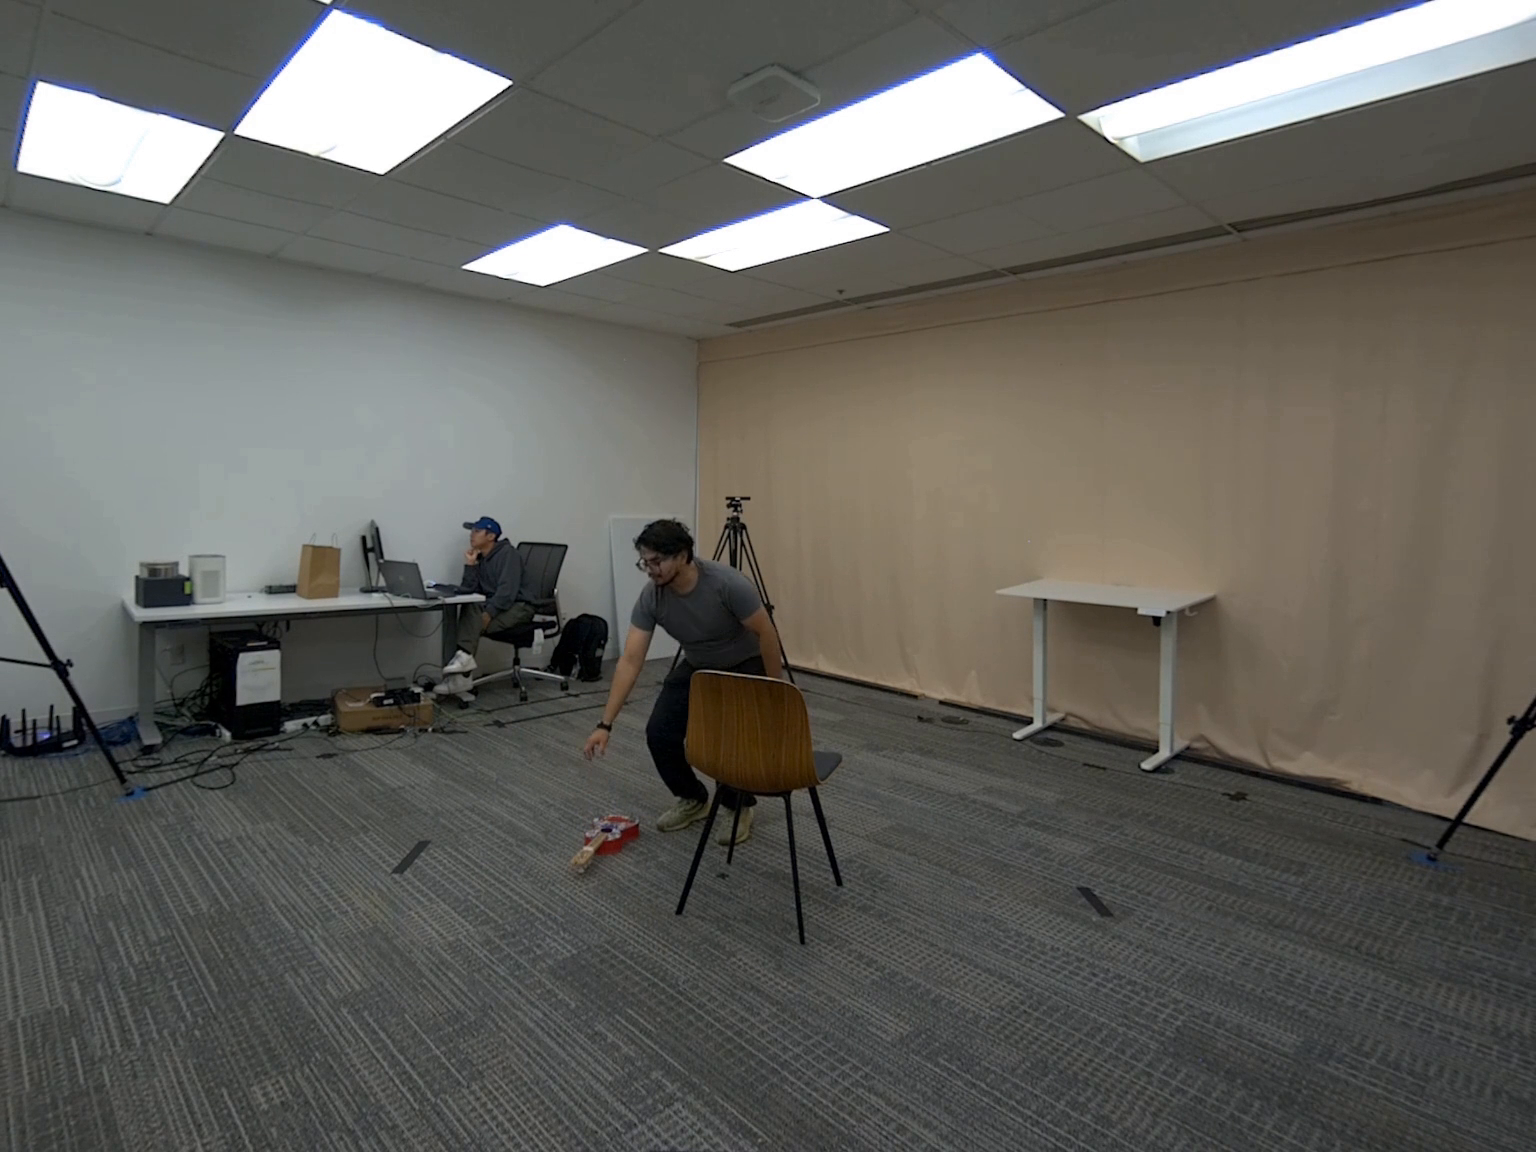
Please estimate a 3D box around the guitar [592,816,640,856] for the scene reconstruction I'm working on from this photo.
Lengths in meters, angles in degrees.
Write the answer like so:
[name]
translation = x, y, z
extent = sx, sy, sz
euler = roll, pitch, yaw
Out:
[guitar]
translation = -0.688, 1.045, 3.289
extent = 0.196, 0.070, 0.491
euler = 3, 5, 18
